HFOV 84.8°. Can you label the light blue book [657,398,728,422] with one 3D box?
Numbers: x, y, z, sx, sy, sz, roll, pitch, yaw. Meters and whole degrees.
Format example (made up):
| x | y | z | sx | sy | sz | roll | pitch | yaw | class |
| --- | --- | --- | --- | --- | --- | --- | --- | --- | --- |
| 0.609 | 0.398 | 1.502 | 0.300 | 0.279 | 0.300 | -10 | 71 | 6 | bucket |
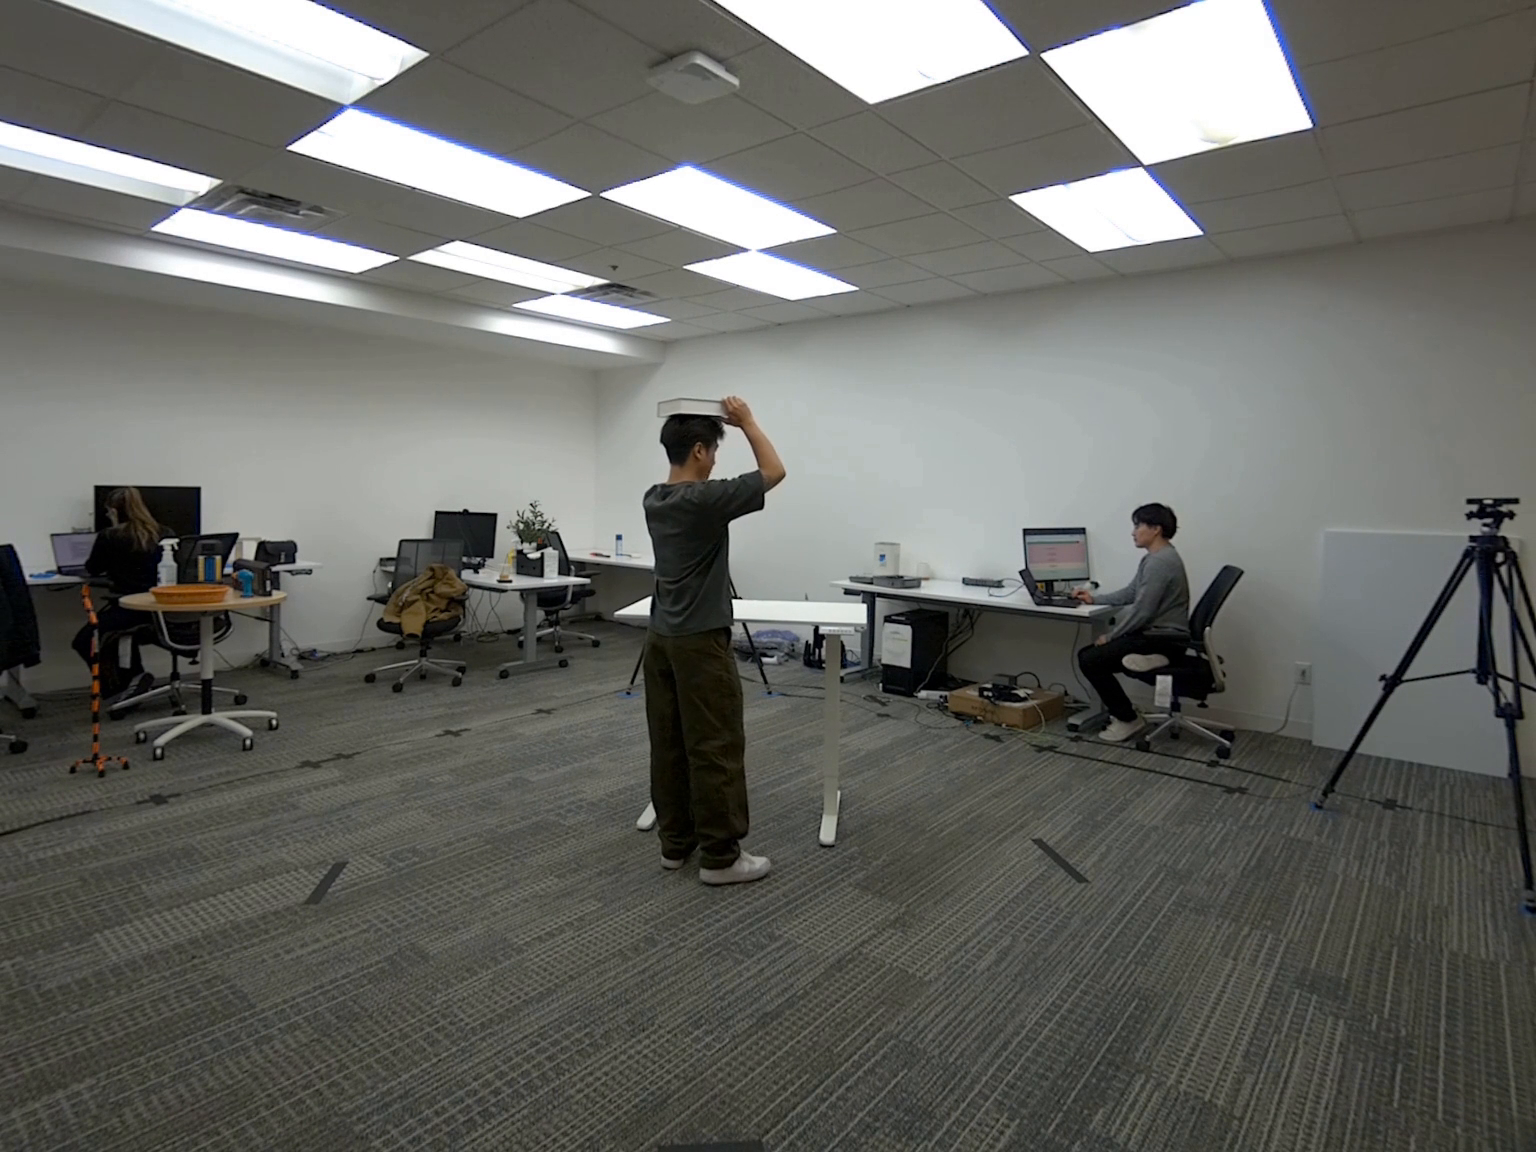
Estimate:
| x | y | z | sx | sy | sz | roll | pitch | yaw | class |
| --- | --- | --- | --- | --- | --- | --- | --- | --- | --- |
| -0.270 | -0.623 | 3.166 | 0.254 | 0.059 | 0.197 | -3 | 6 | -29 | light blue book |
